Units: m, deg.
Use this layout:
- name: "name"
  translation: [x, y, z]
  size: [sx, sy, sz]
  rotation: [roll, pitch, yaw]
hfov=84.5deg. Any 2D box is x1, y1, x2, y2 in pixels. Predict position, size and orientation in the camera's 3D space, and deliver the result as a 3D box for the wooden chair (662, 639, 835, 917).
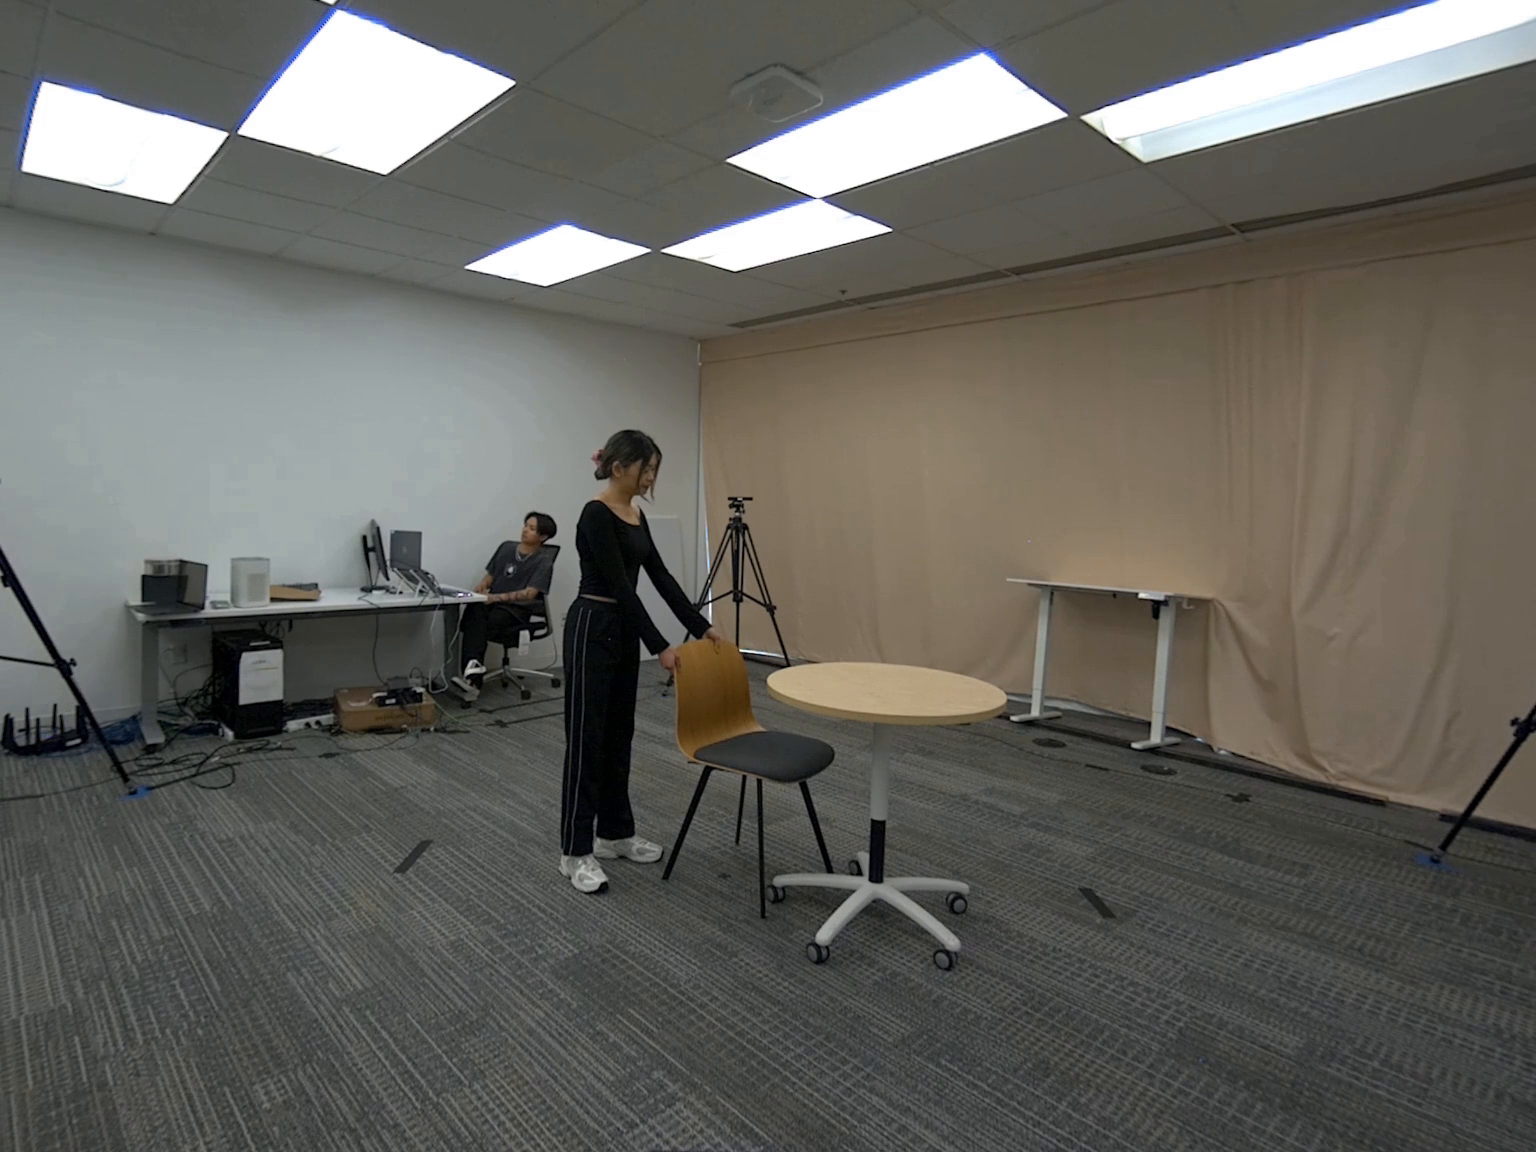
- name: "wooden chair"
  translation: [-0.065, 0.682, 3.070]
  size: [0.535, 0.877, 0.467]
  rotation: [-2, 0, 37]
